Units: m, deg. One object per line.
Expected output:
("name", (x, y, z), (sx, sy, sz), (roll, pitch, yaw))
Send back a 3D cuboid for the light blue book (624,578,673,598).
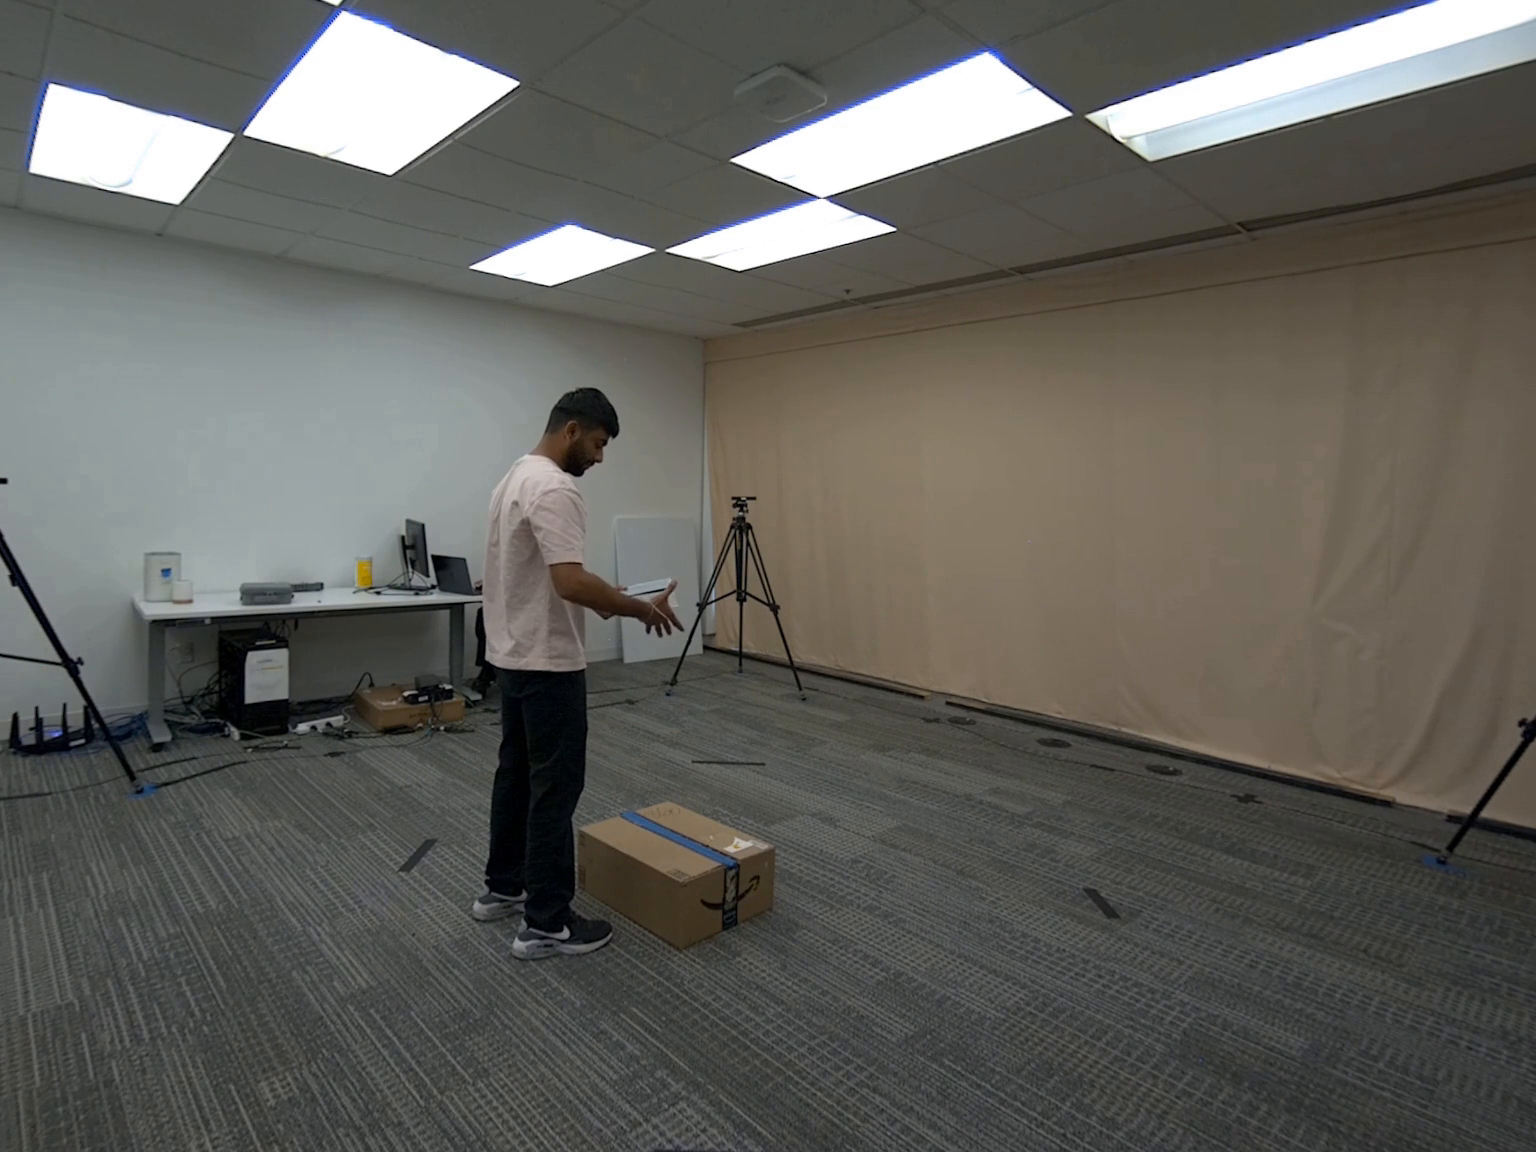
("light blue book", (-0.427, 0.097, 2.654), (0.266, 0.058, 0.190), (-3, 16, 30))
